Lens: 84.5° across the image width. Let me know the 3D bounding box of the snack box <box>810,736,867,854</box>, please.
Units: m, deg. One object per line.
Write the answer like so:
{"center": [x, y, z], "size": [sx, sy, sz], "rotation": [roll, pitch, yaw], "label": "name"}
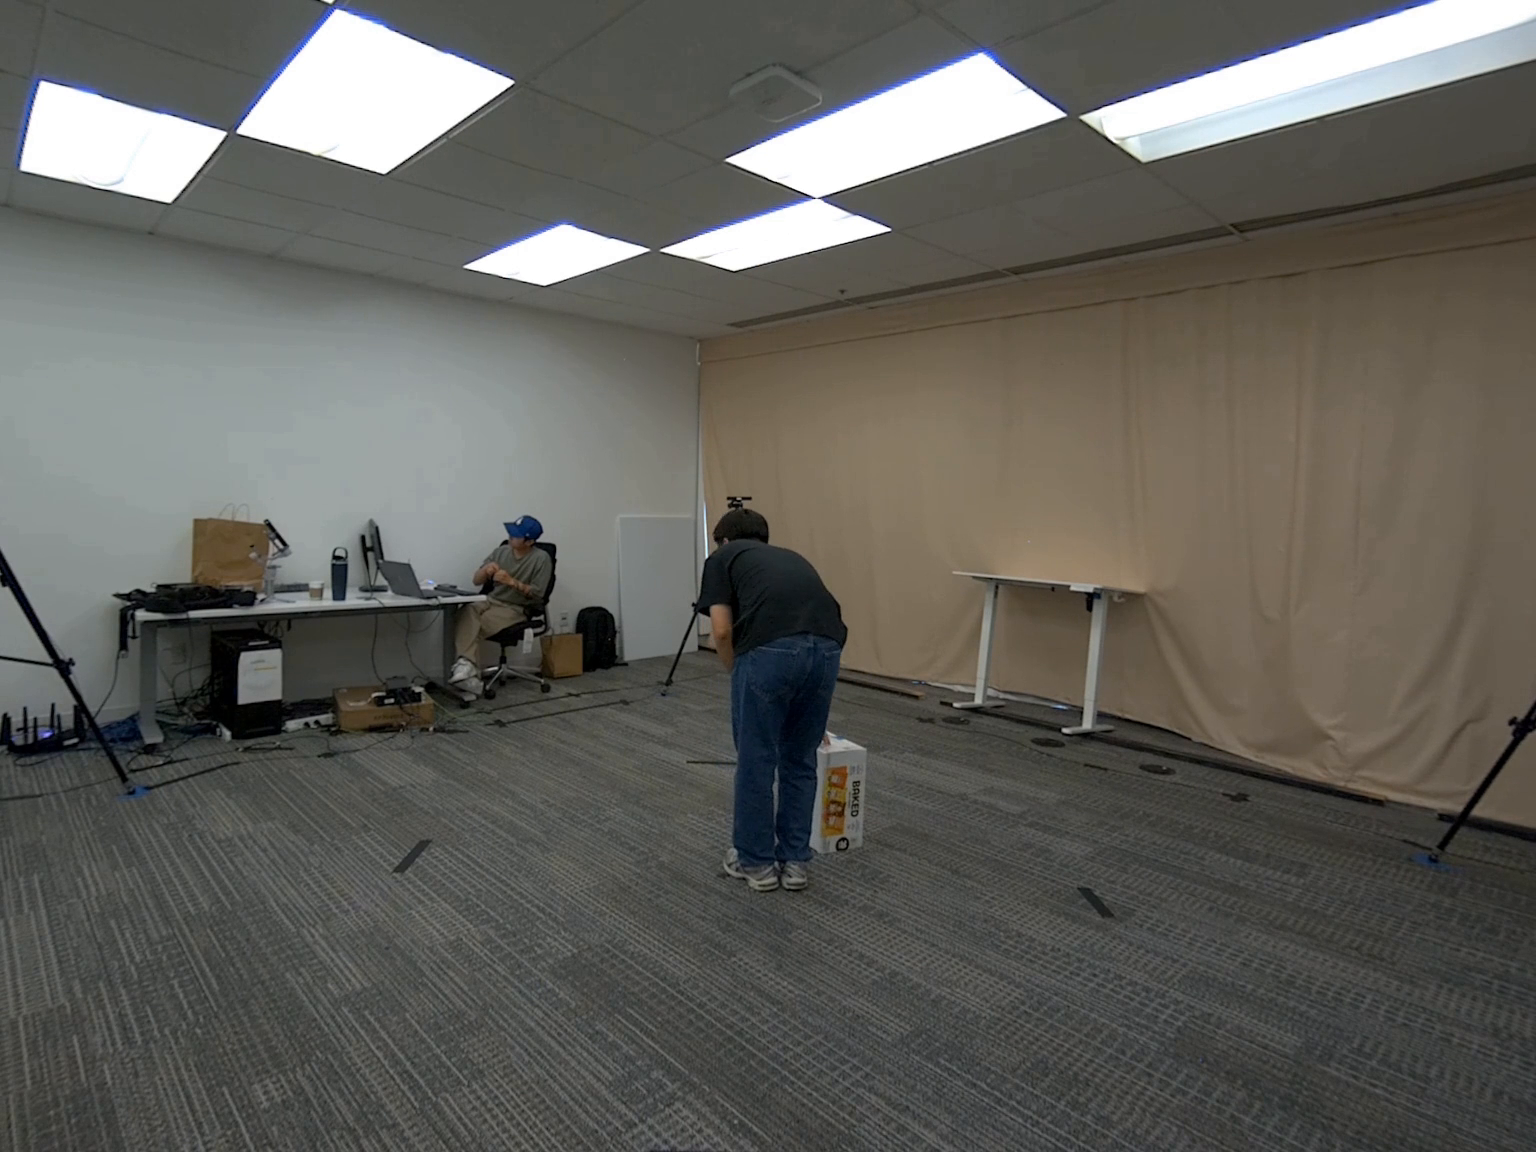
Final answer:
{"center": [0.219, 0.876, 3.496], "size": [0.201, 0.404, 0.348], "rotation": [1, 4, -30], "label": "snack box"}
